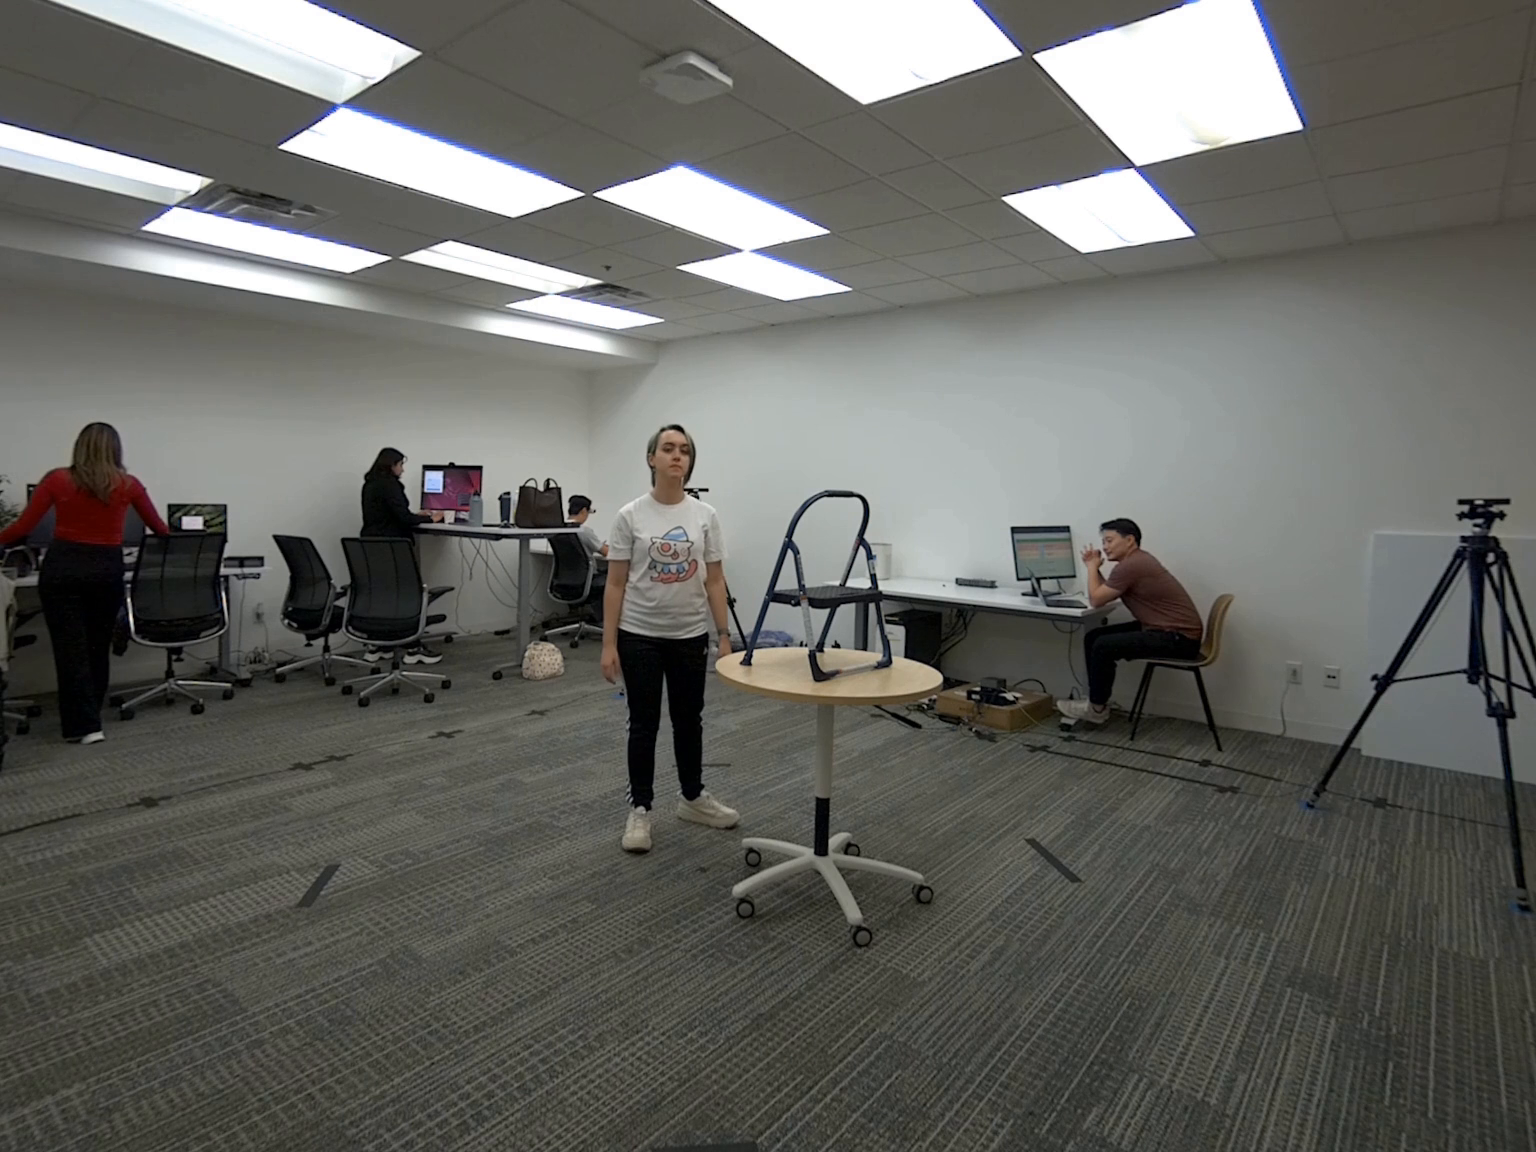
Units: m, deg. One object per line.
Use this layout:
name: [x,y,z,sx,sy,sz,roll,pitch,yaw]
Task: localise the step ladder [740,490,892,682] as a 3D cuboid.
step ladder: [0.178,0.009,2.938,0.361,0.604,0.417,5,5,44]
